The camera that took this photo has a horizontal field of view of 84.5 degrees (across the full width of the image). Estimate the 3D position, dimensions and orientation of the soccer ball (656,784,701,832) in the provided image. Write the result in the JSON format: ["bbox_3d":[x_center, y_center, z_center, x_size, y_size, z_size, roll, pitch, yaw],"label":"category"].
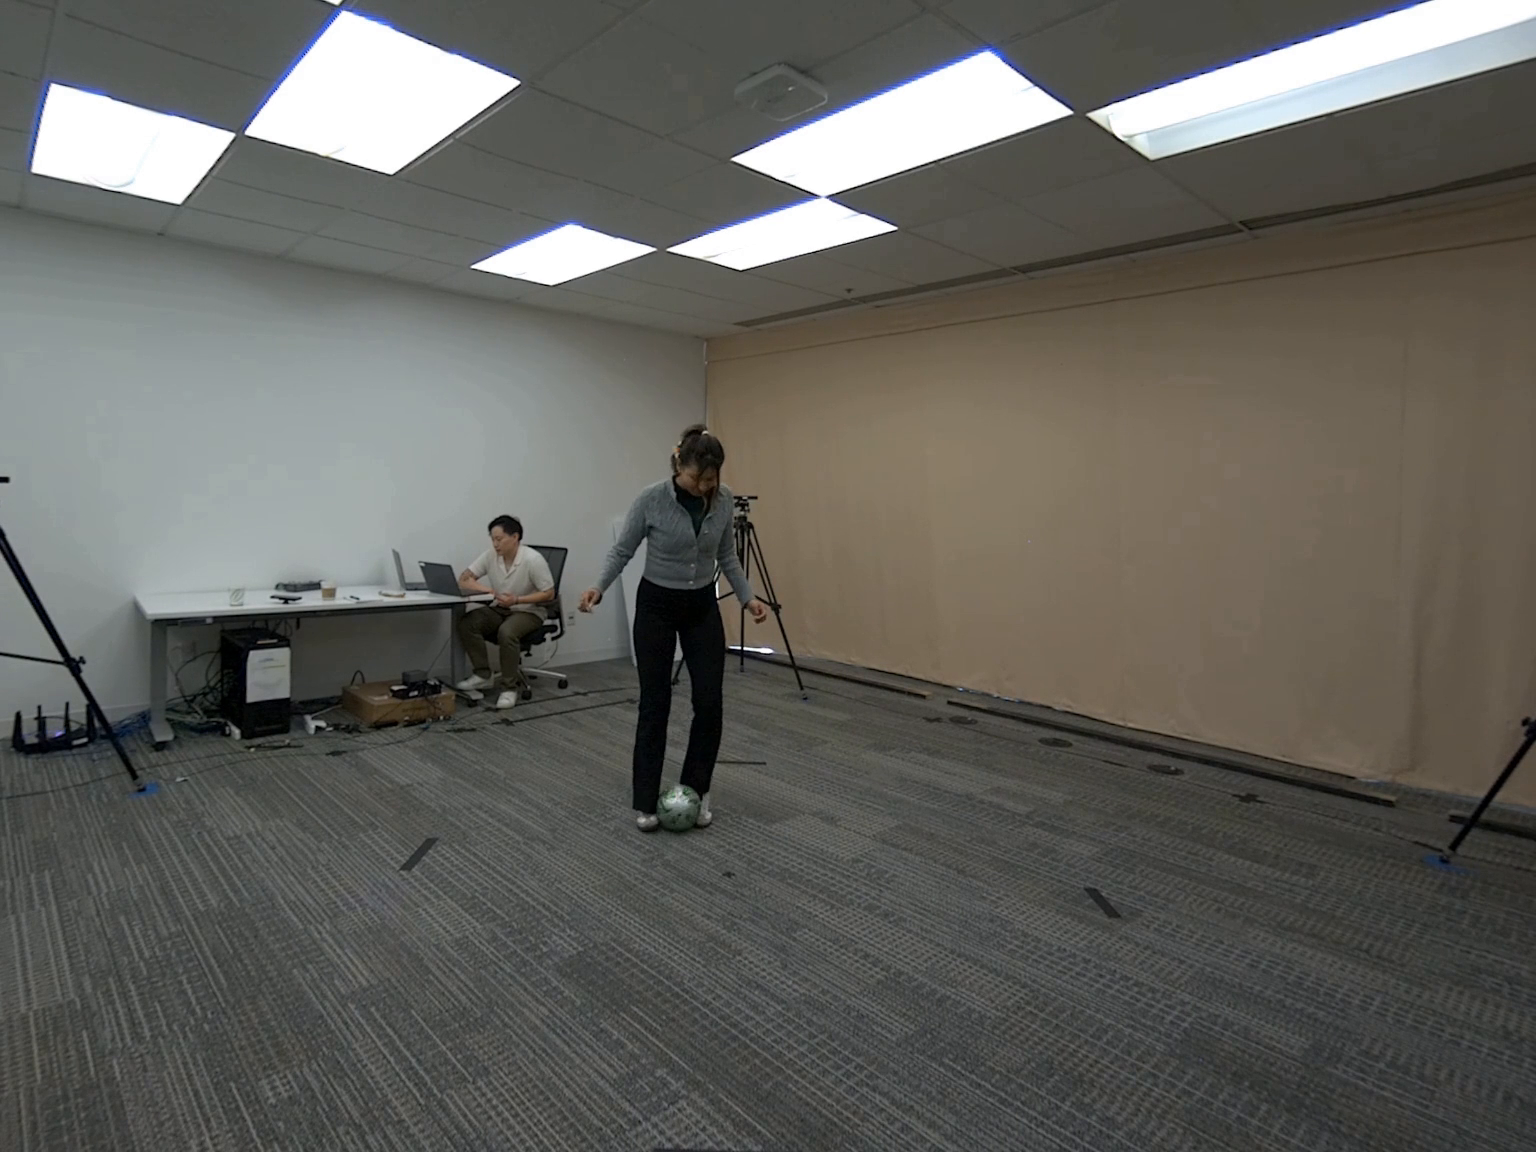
[{"bbox_3d":[-0.388,0.967,3.511,0.187,0.187,0.188,1,4,-1],"label":"soccer ball"}]
